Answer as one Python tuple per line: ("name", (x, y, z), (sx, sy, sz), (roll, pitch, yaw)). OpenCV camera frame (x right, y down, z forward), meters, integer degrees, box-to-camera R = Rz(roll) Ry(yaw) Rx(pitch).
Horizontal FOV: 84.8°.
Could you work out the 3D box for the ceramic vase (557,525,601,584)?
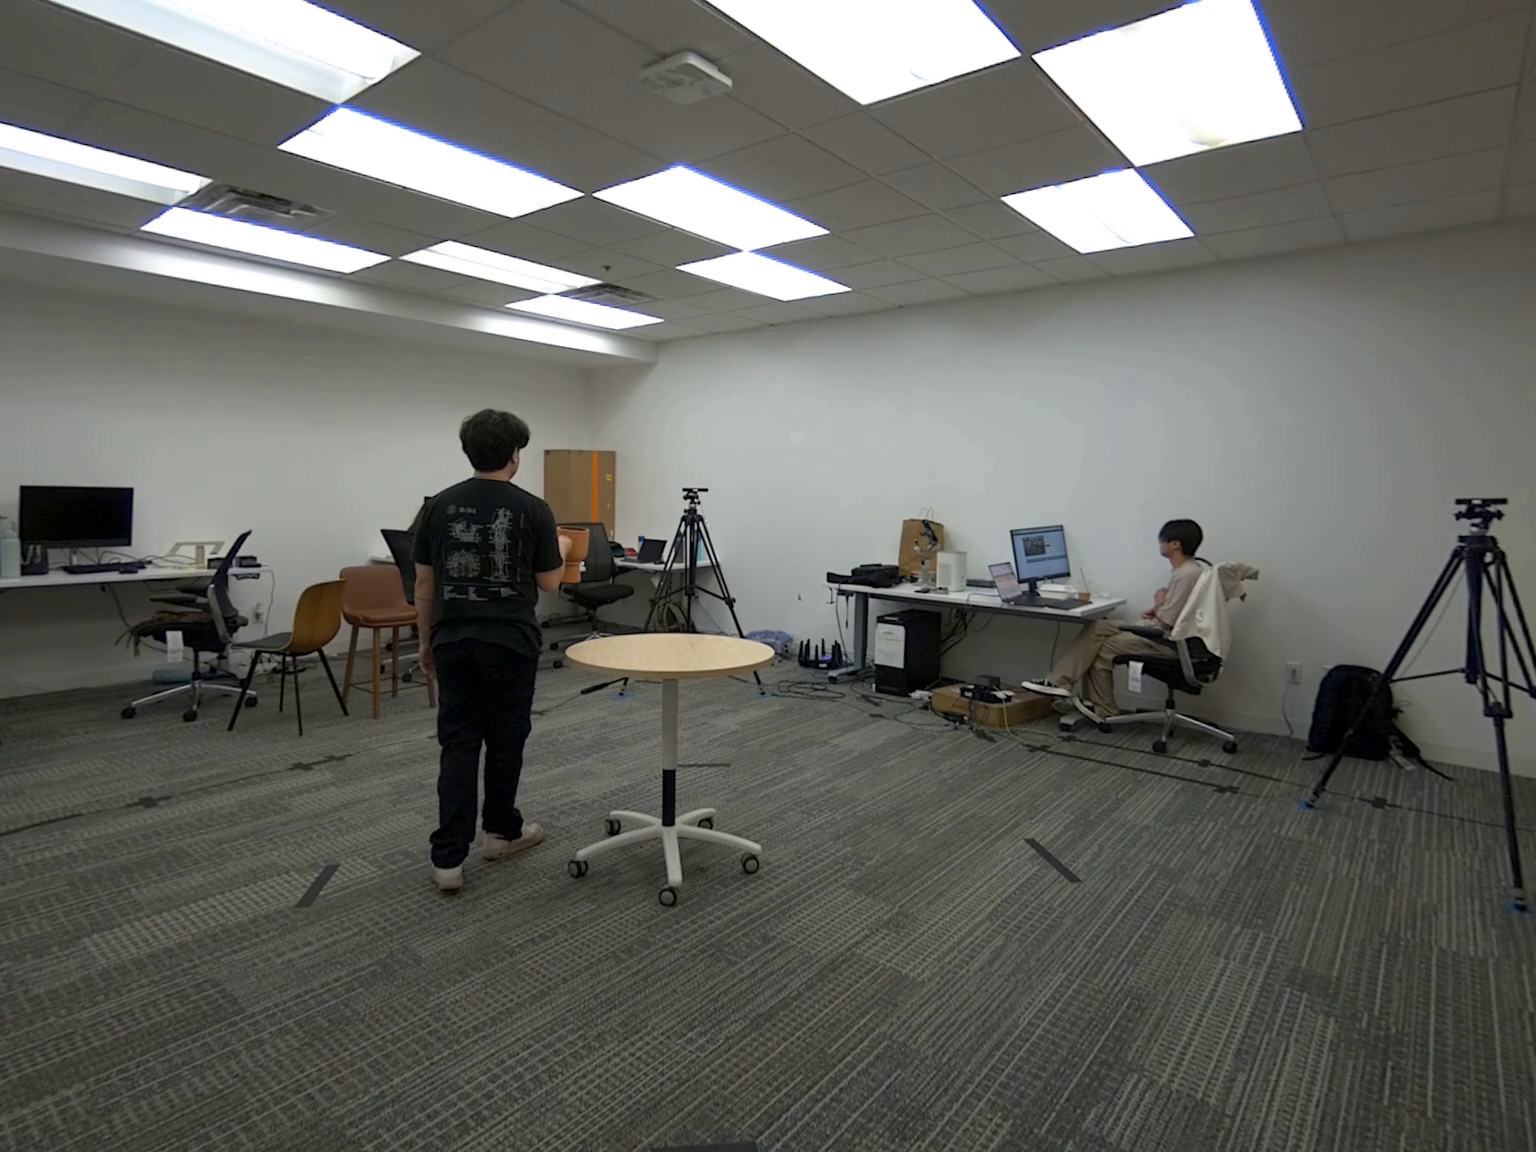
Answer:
("ceramic vase", (-0.823, -0.091, 3.534), (0.154, 0.219, 0.140), (2, 9, -43))
